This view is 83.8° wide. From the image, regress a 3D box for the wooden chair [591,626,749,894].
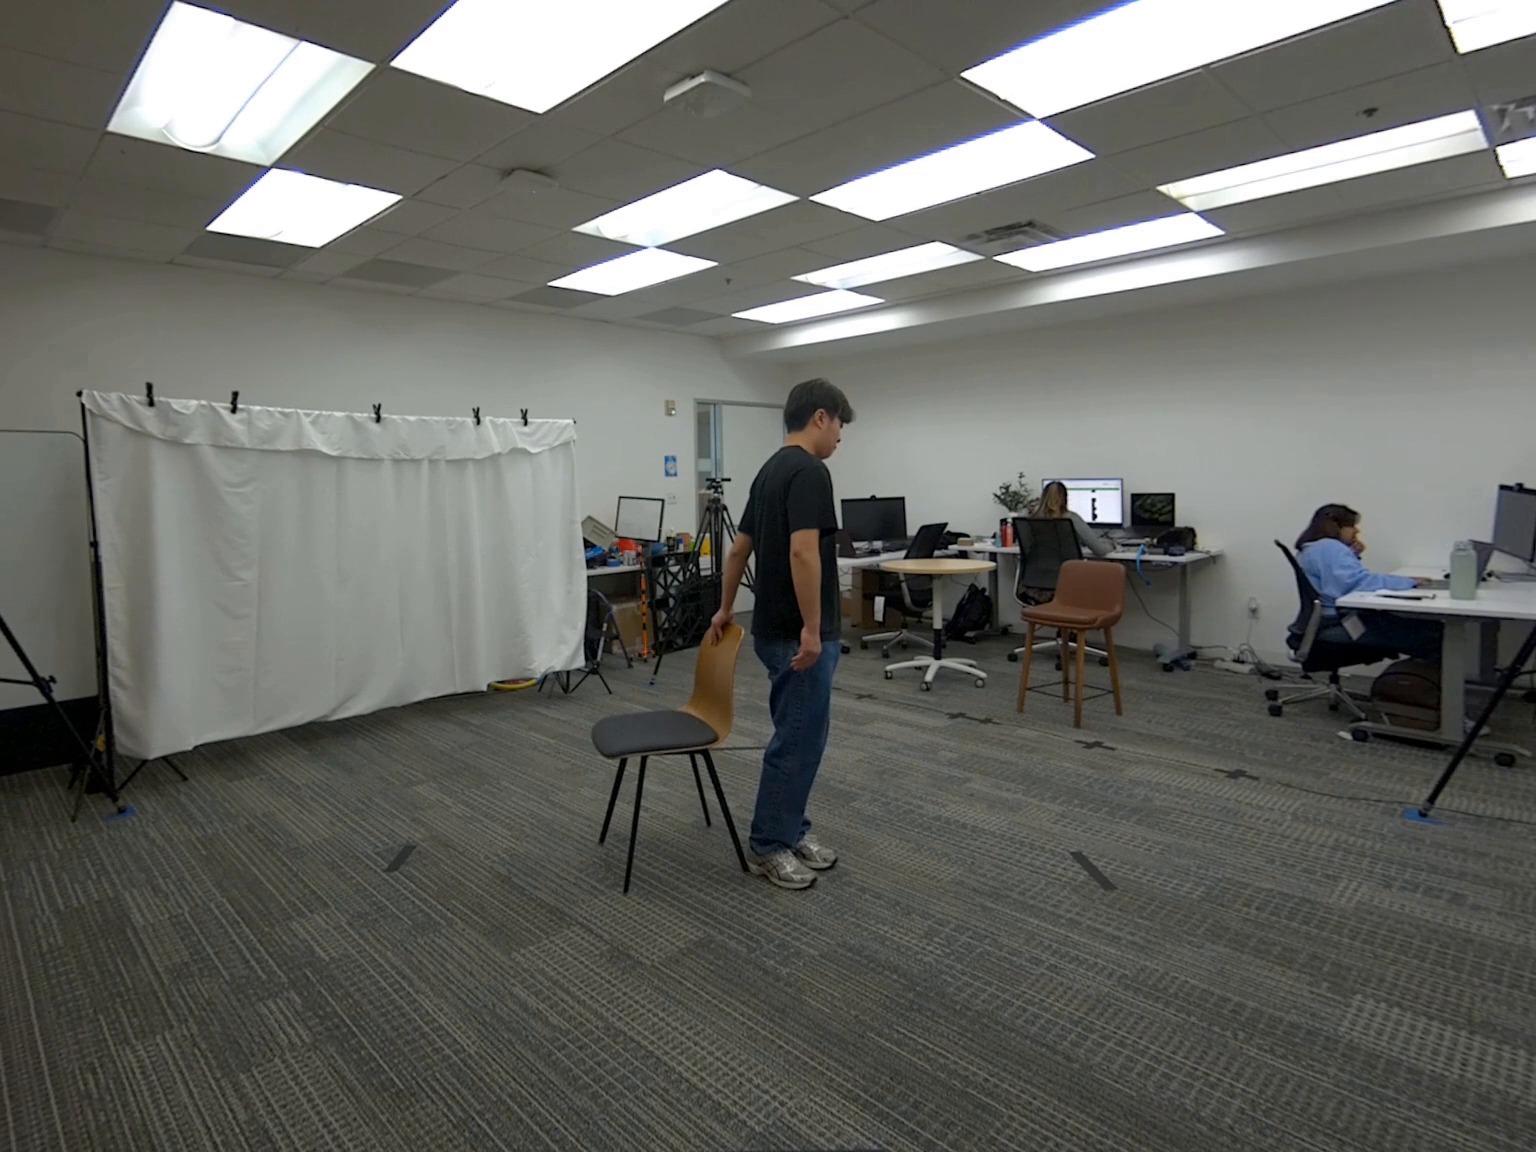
[{"bbox_3d":[-0.371,0.615,3.130,0.513,0.875,0.489,2,3,-21],"label":"wooden chair"}]
